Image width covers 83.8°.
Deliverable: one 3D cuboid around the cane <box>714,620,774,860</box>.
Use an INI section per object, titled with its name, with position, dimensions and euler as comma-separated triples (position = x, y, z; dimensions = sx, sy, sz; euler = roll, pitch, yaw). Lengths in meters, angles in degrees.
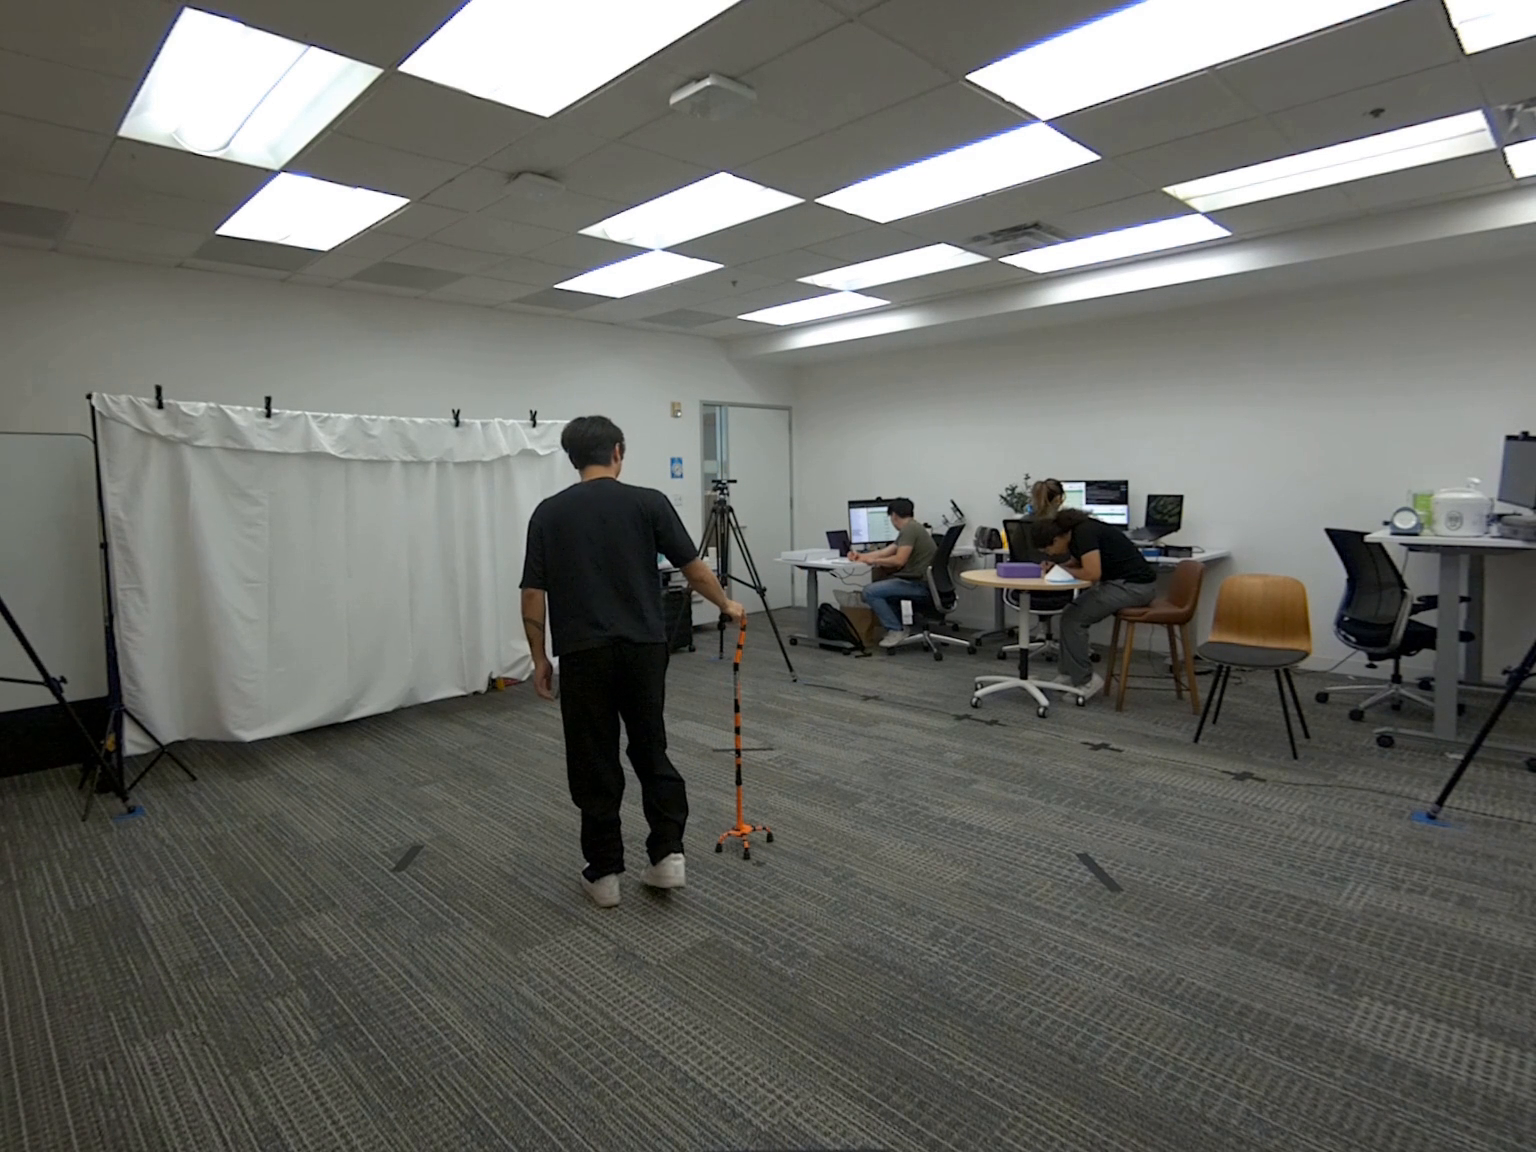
[cane]
position = -0.098, 0.585, 3.223
dimensions = 0.155, 0.904, 0.202
euler = 1, 5, 28
